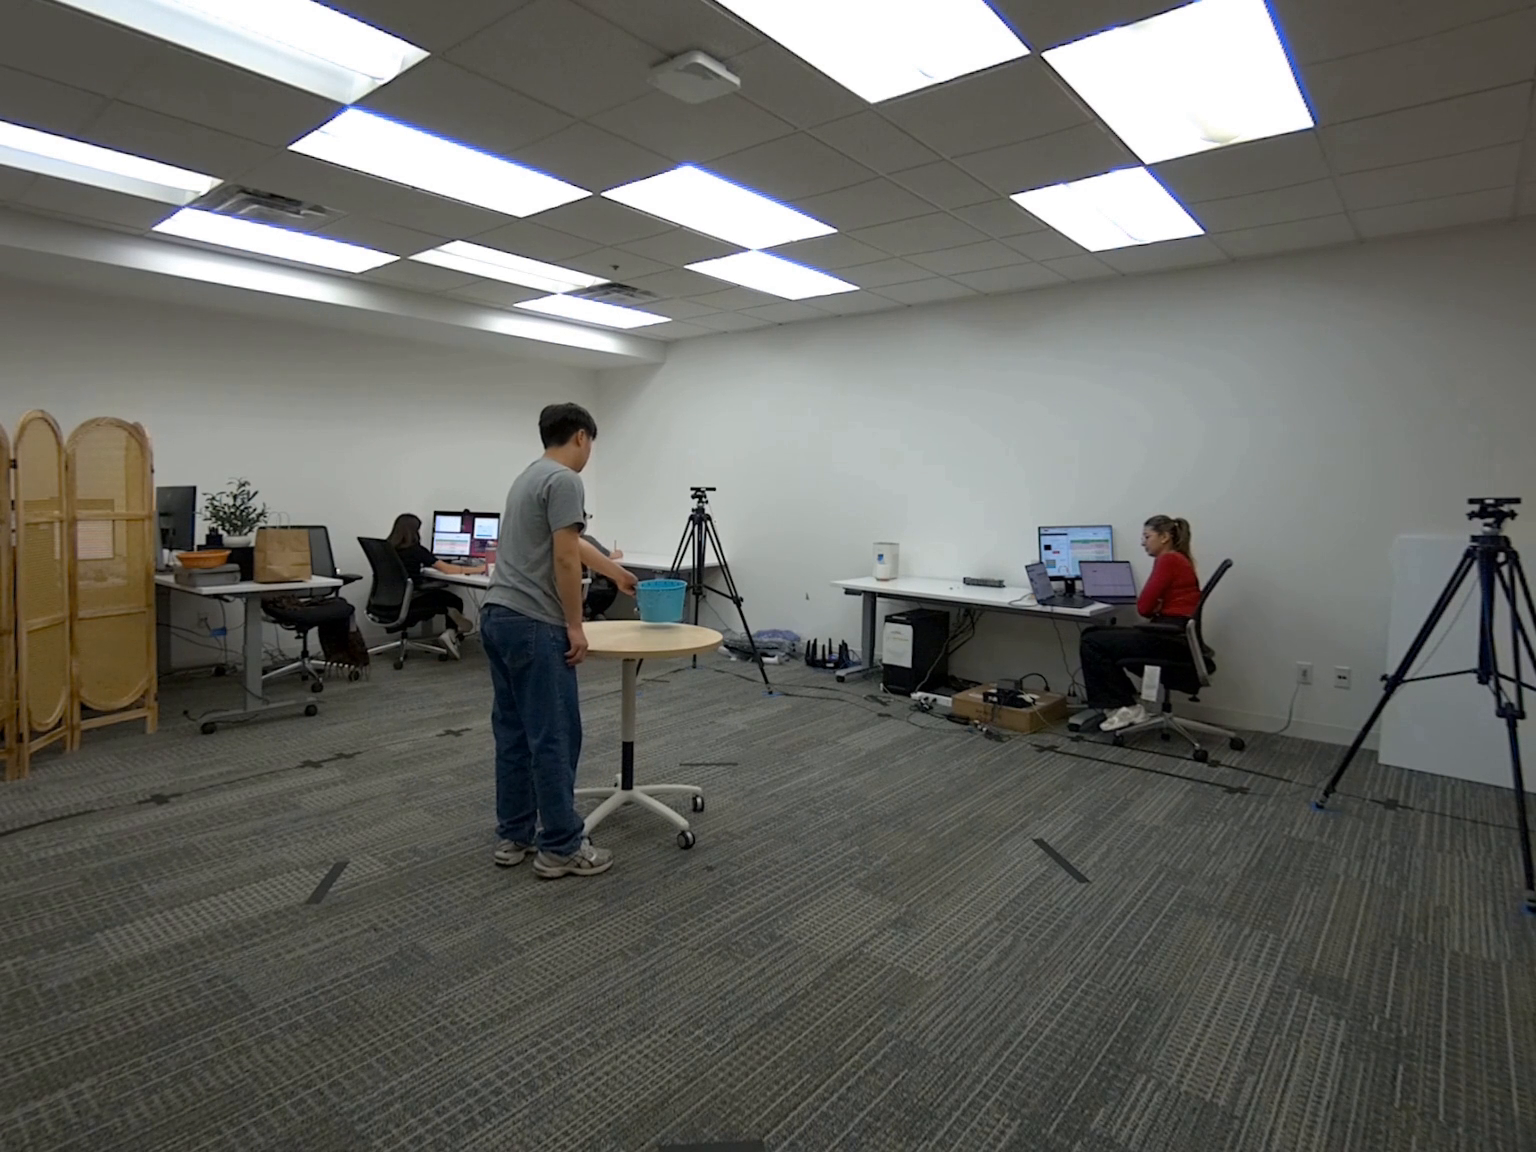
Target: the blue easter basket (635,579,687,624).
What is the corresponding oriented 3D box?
[{"bbox_3d":[-0.494,0.110,3.728,0.243,0.155,0.245,-2,7,-2],"label":"blue easter basket"}]
